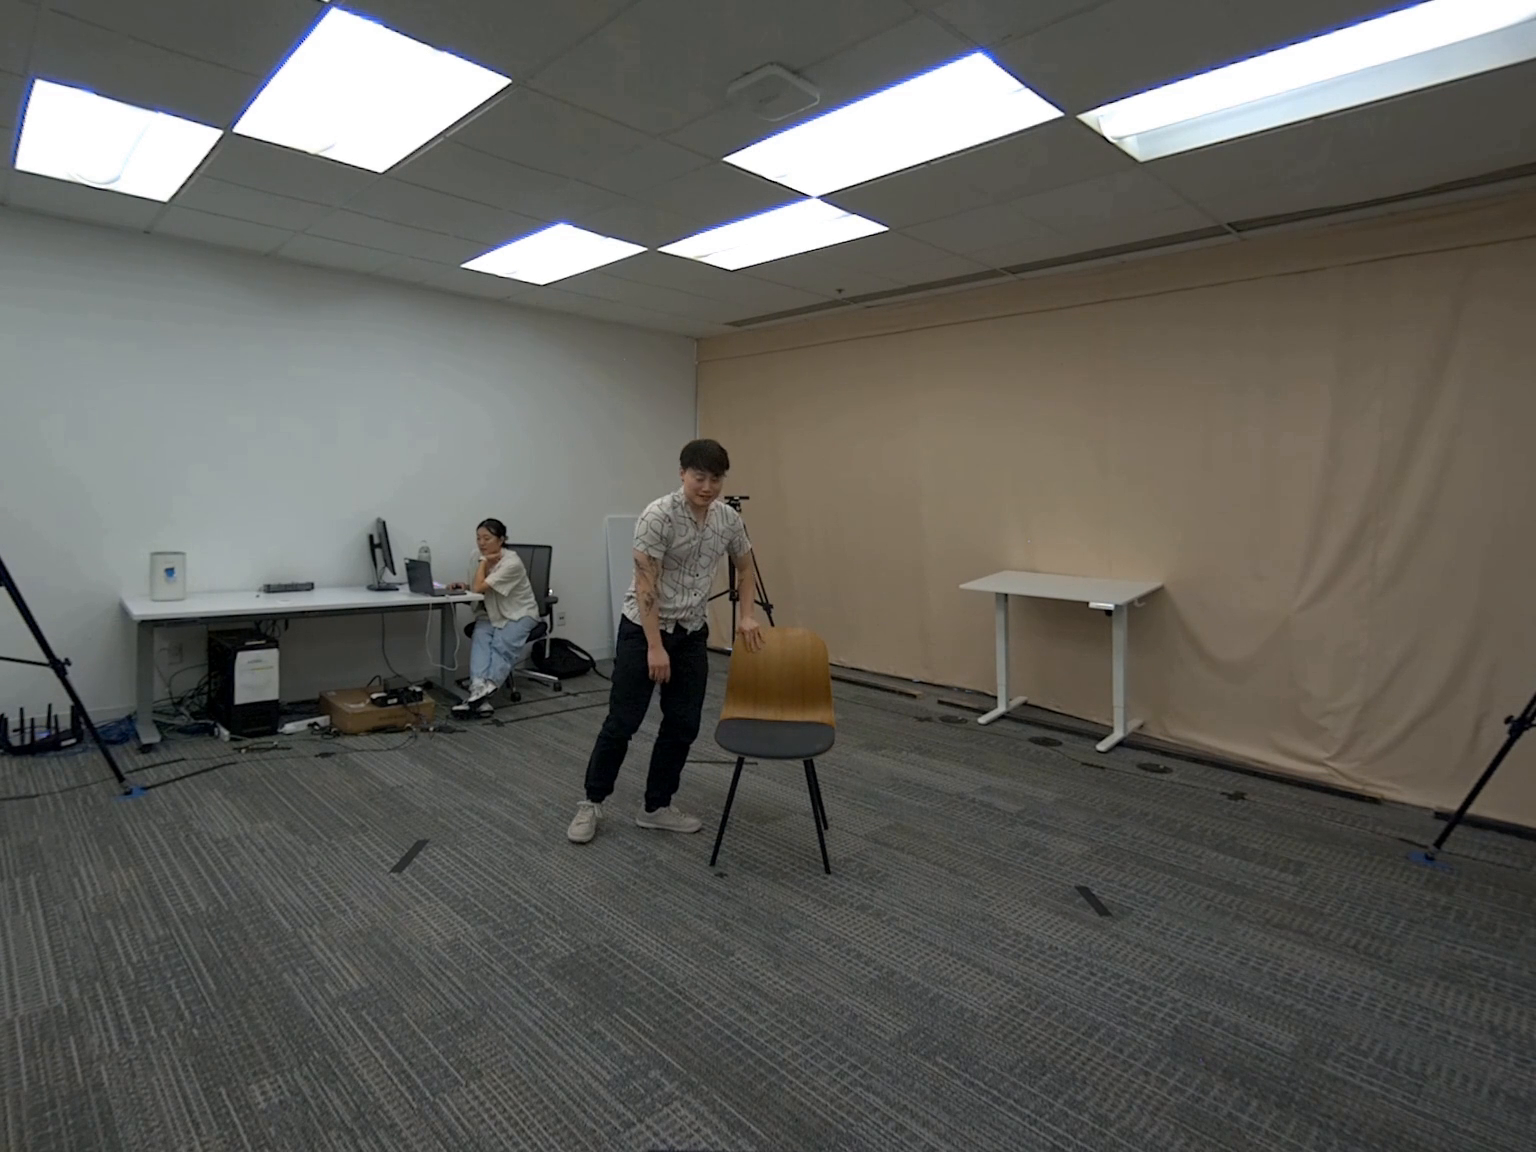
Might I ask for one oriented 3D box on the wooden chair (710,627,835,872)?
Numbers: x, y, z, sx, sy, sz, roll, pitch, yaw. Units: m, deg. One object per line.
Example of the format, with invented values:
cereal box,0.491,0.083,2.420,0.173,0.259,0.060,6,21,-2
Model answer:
wooden chair,0.029,0.659,3.336,0.480,0.878,0.520,2,-1,4
